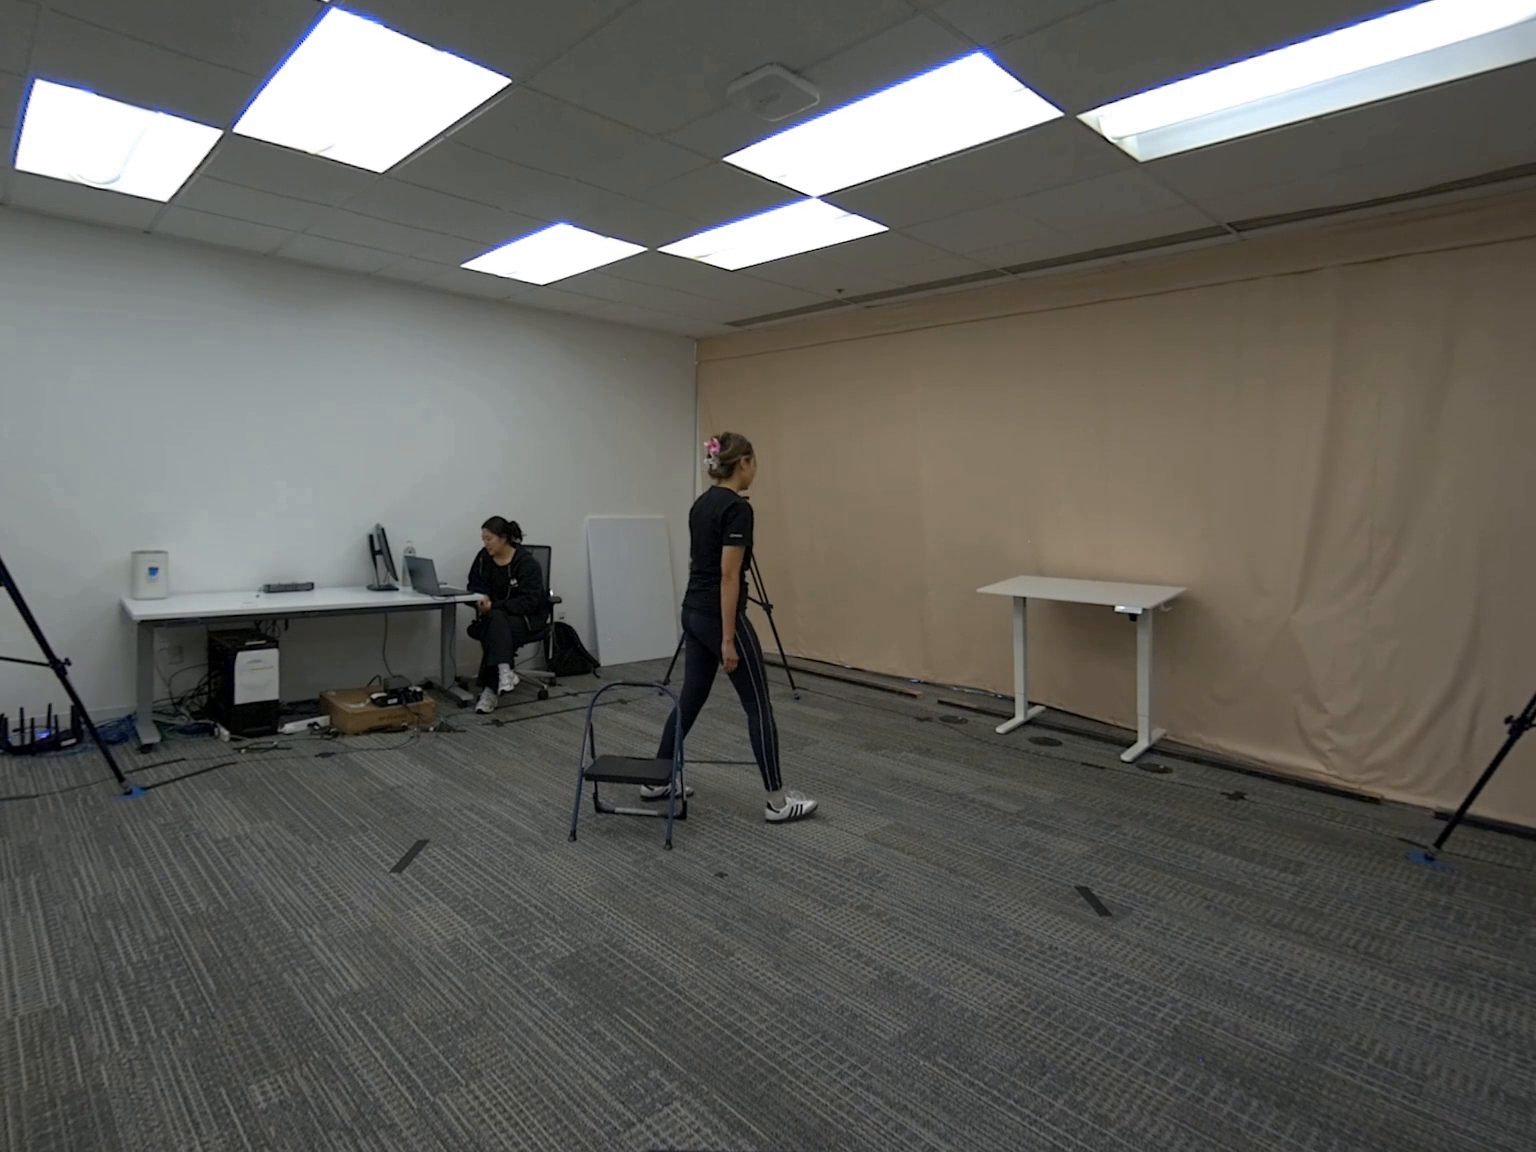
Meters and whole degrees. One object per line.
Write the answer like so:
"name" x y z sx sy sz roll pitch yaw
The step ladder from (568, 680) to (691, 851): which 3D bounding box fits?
"step ladder" -0.575 0.759 3.497 0.433 0.604 0.348 2 4 7
